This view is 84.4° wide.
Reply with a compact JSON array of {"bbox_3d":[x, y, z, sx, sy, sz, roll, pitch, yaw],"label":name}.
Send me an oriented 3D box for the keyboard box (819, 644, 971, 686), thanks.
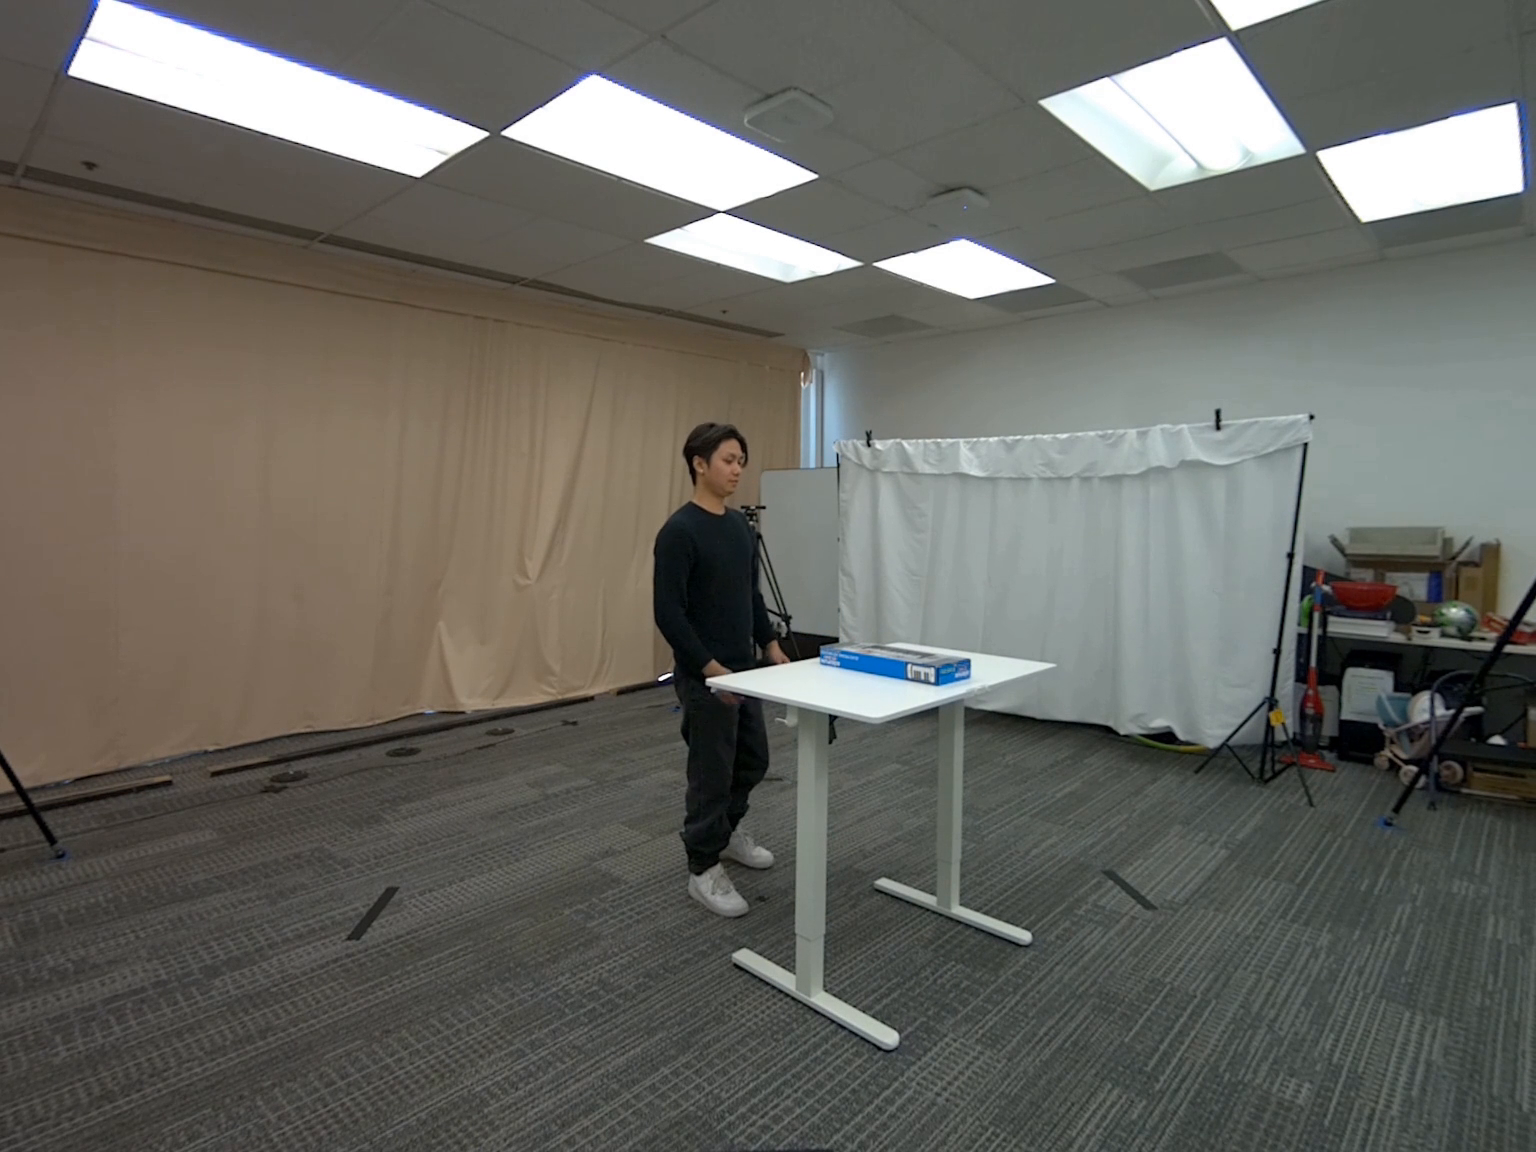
[{"bbox_3d":[0.393,0.265,2.578,0.170,0.059,0.451,-5,7,-43],"label":"keyboard box"}]
